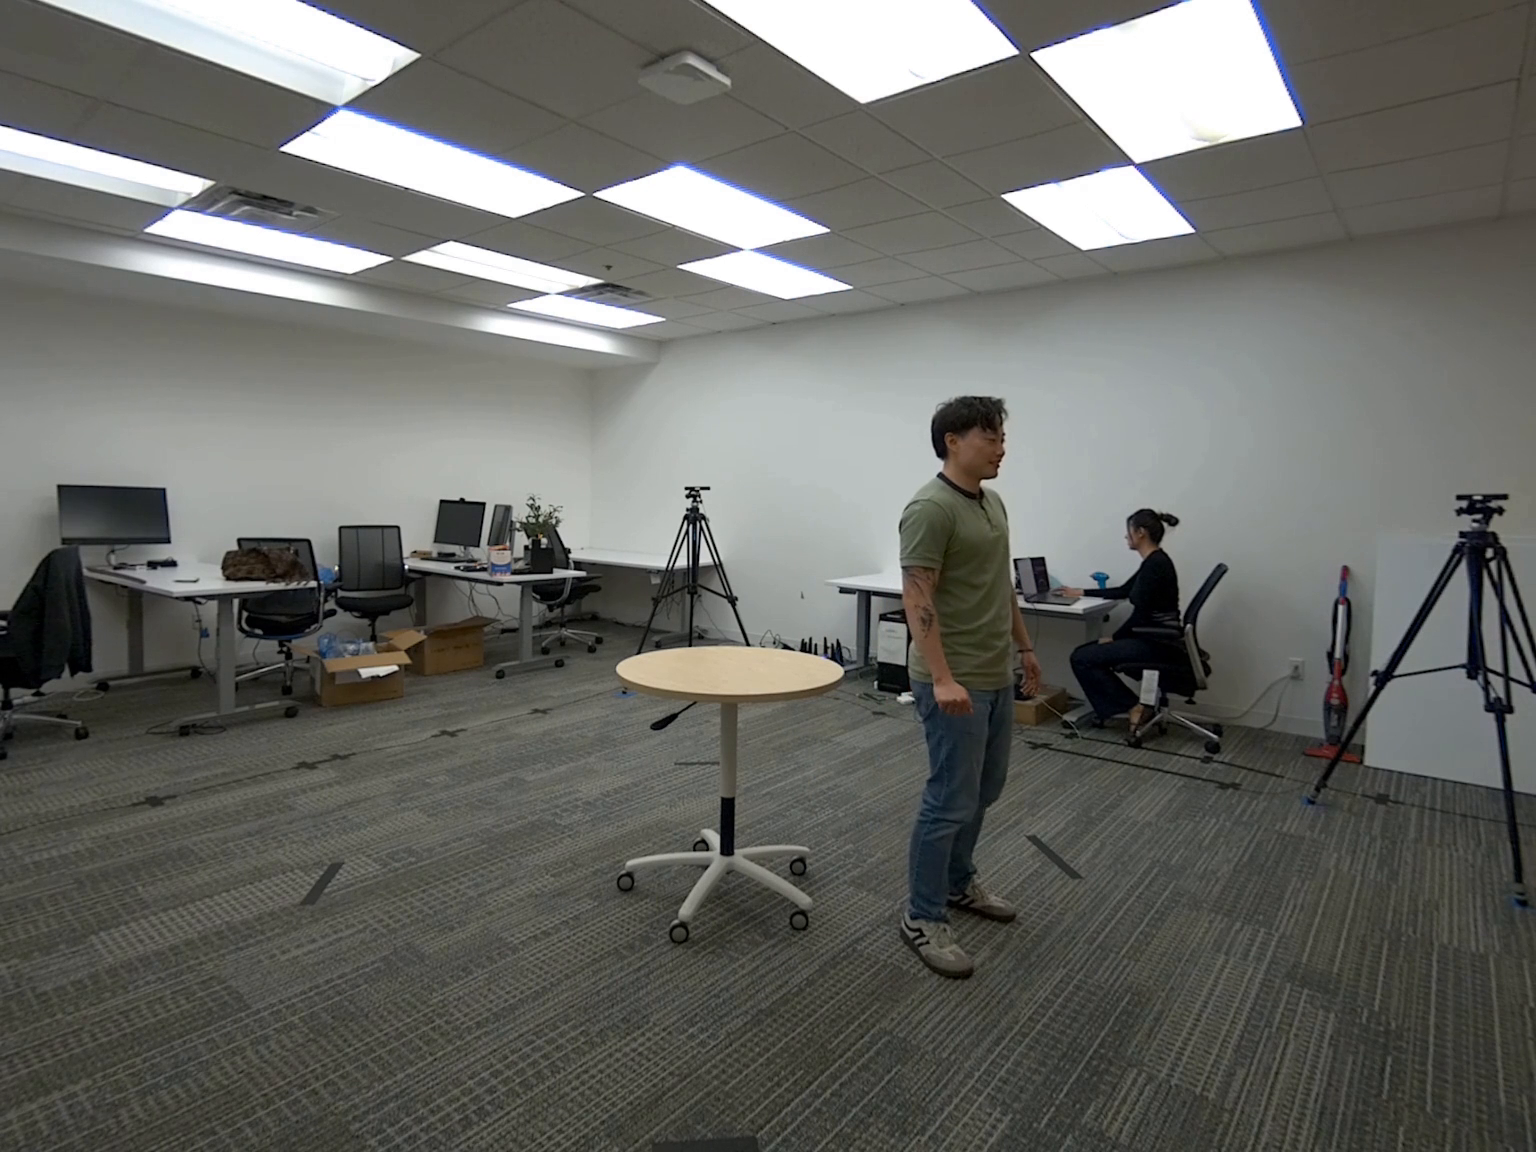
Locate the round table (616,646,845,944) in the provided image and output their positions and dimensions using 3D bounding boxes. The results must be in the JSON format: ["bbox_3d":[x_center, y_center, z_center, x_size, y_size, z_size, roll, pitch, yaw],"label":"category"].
[{"bbox_3d":[-0.145,0.699,2.893,0.763,0.791,0.768,1,4,-2],"label":"round table"}]
